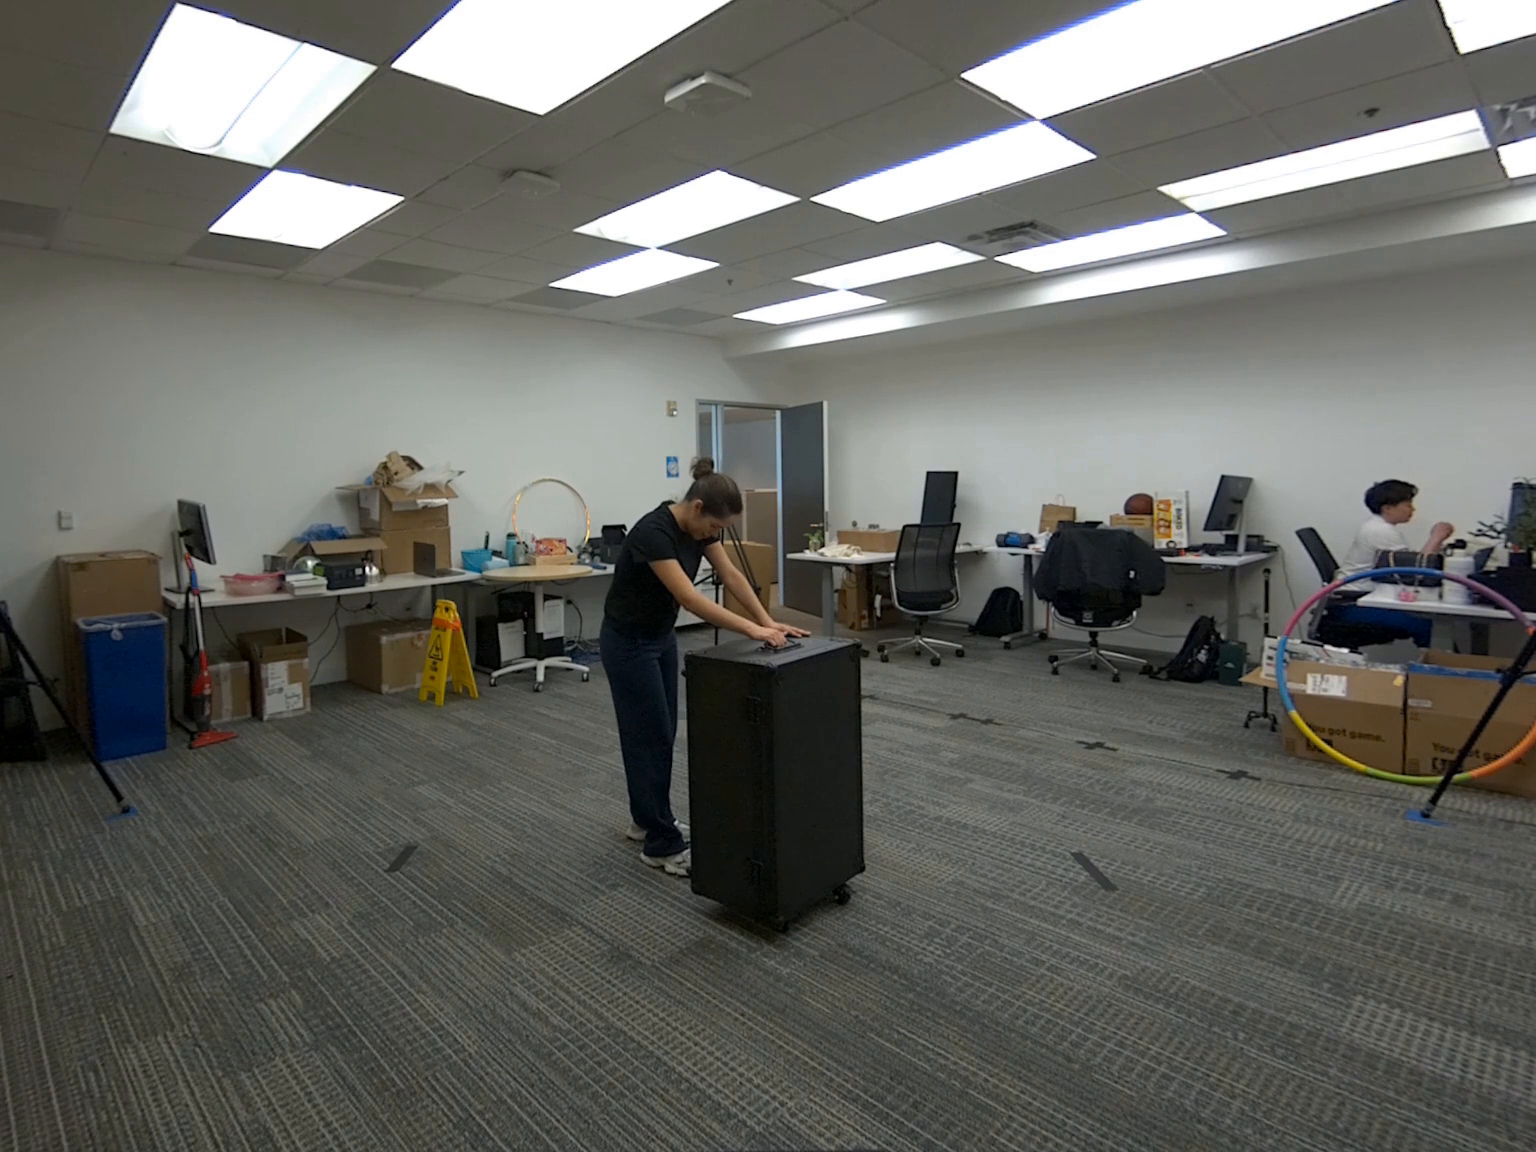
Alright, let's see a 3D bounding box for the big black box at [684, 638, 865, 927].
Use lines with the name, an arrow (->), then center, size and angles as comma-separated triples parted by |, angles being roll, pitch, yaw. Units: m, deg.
big black box -> 0.040, 0.658, 2.801 | 0.408, 0.859, 0.507 | 2, 4, 40
